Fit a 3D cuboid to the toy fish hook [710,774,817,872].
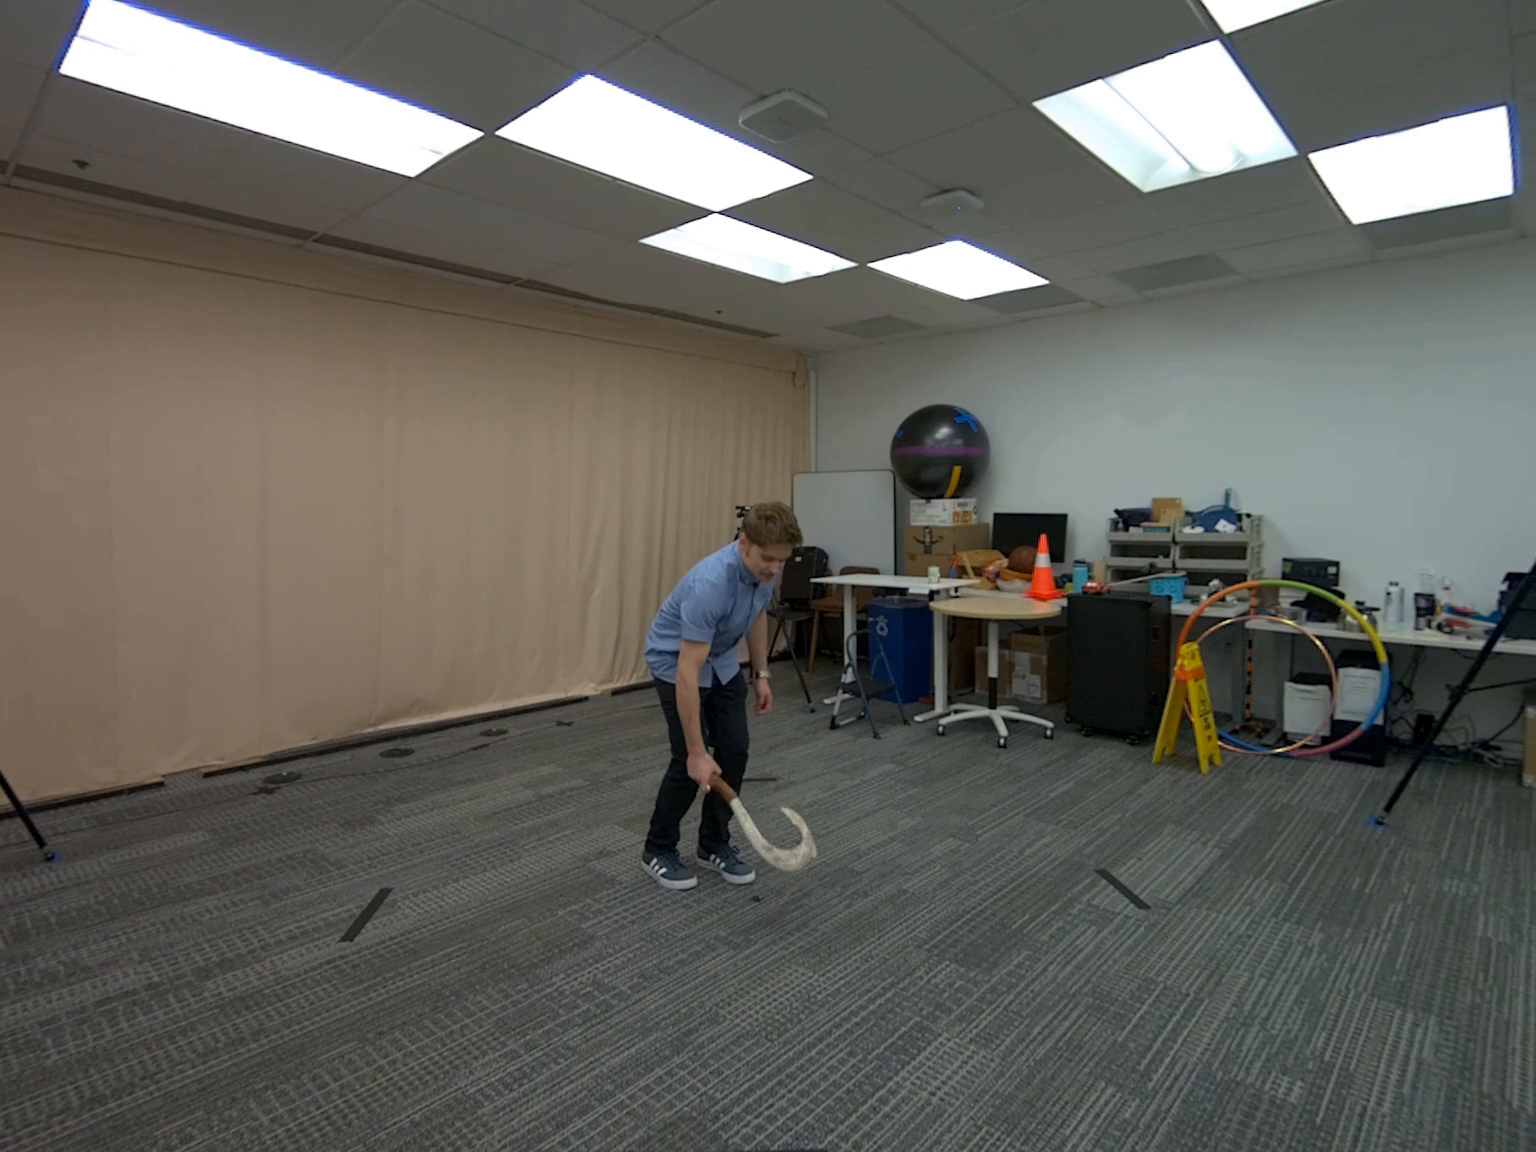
[{"bbox_3d":[-0.042,0.767,2.805,0.522,0.048,0.219,40,34,26],"label":"toy fish hook"}]
